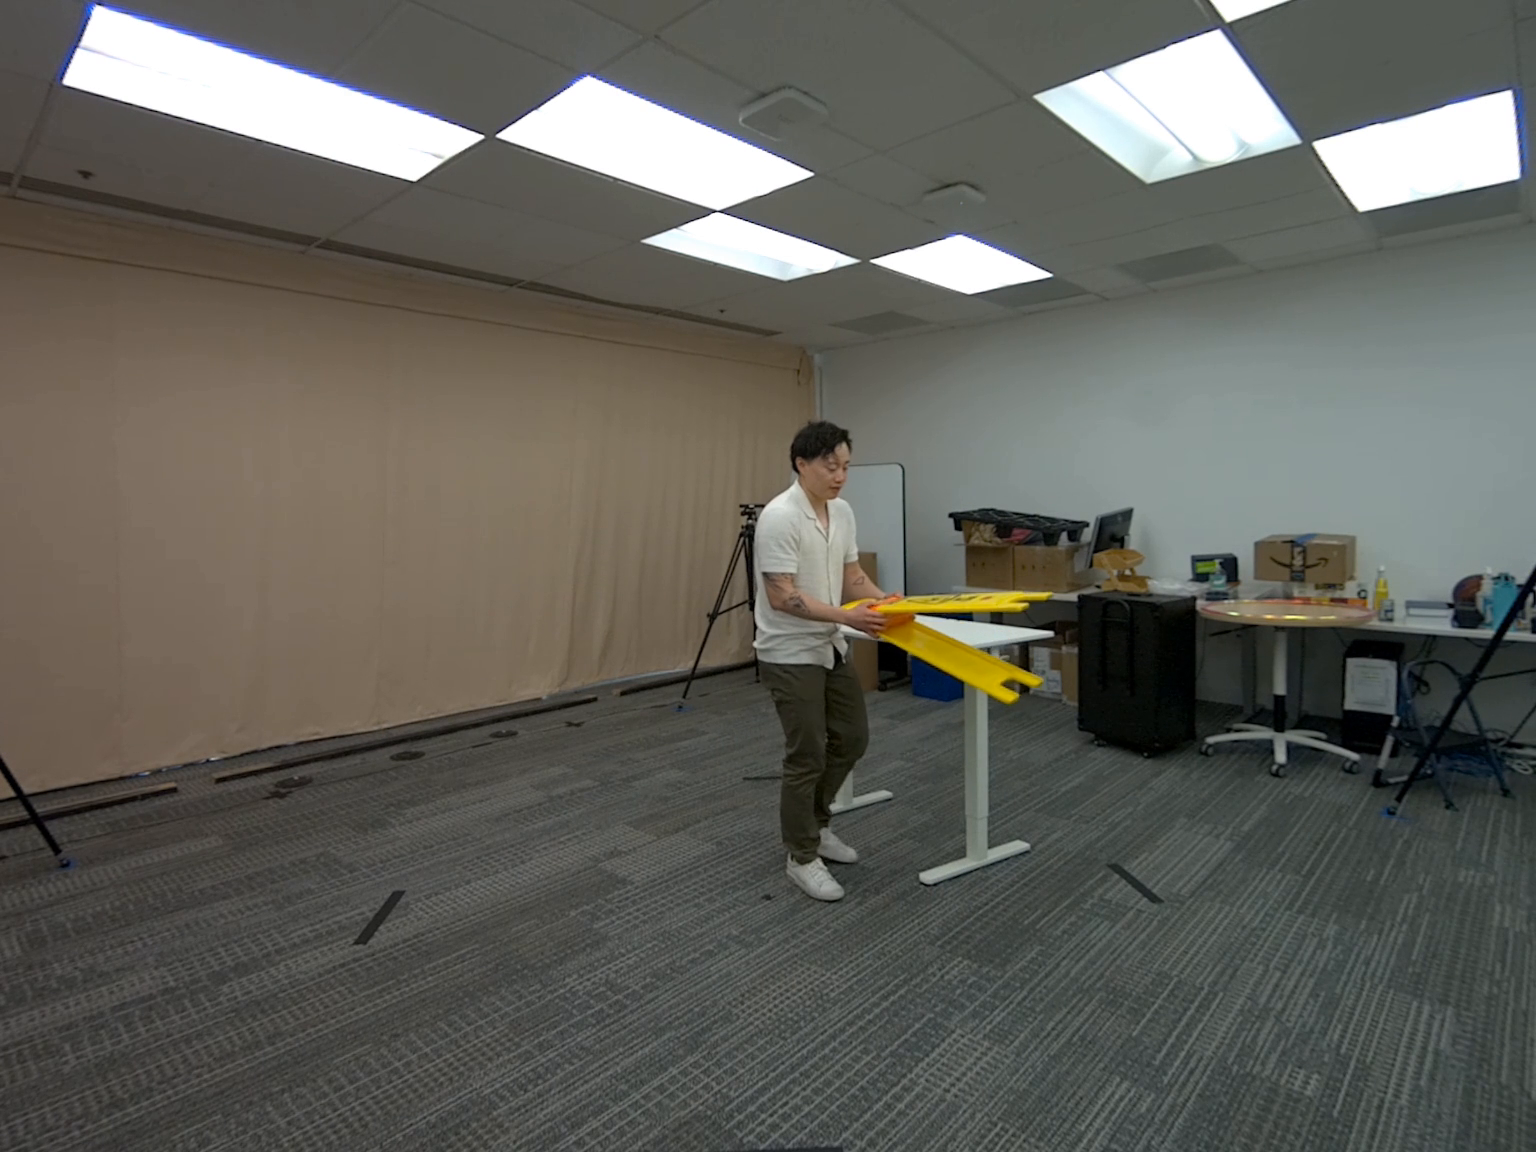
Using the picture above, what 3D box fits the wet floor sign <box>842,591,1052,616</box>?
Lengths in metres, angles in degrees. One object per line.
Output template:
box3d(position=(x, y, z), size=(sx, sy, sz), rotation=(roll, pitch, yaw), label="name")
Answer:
box3d(position=(0.566, 0.162, 2.783), size=(0.668, 0.288, 0.274), rotation=(12, 15, 37), label="wet floor sign")
